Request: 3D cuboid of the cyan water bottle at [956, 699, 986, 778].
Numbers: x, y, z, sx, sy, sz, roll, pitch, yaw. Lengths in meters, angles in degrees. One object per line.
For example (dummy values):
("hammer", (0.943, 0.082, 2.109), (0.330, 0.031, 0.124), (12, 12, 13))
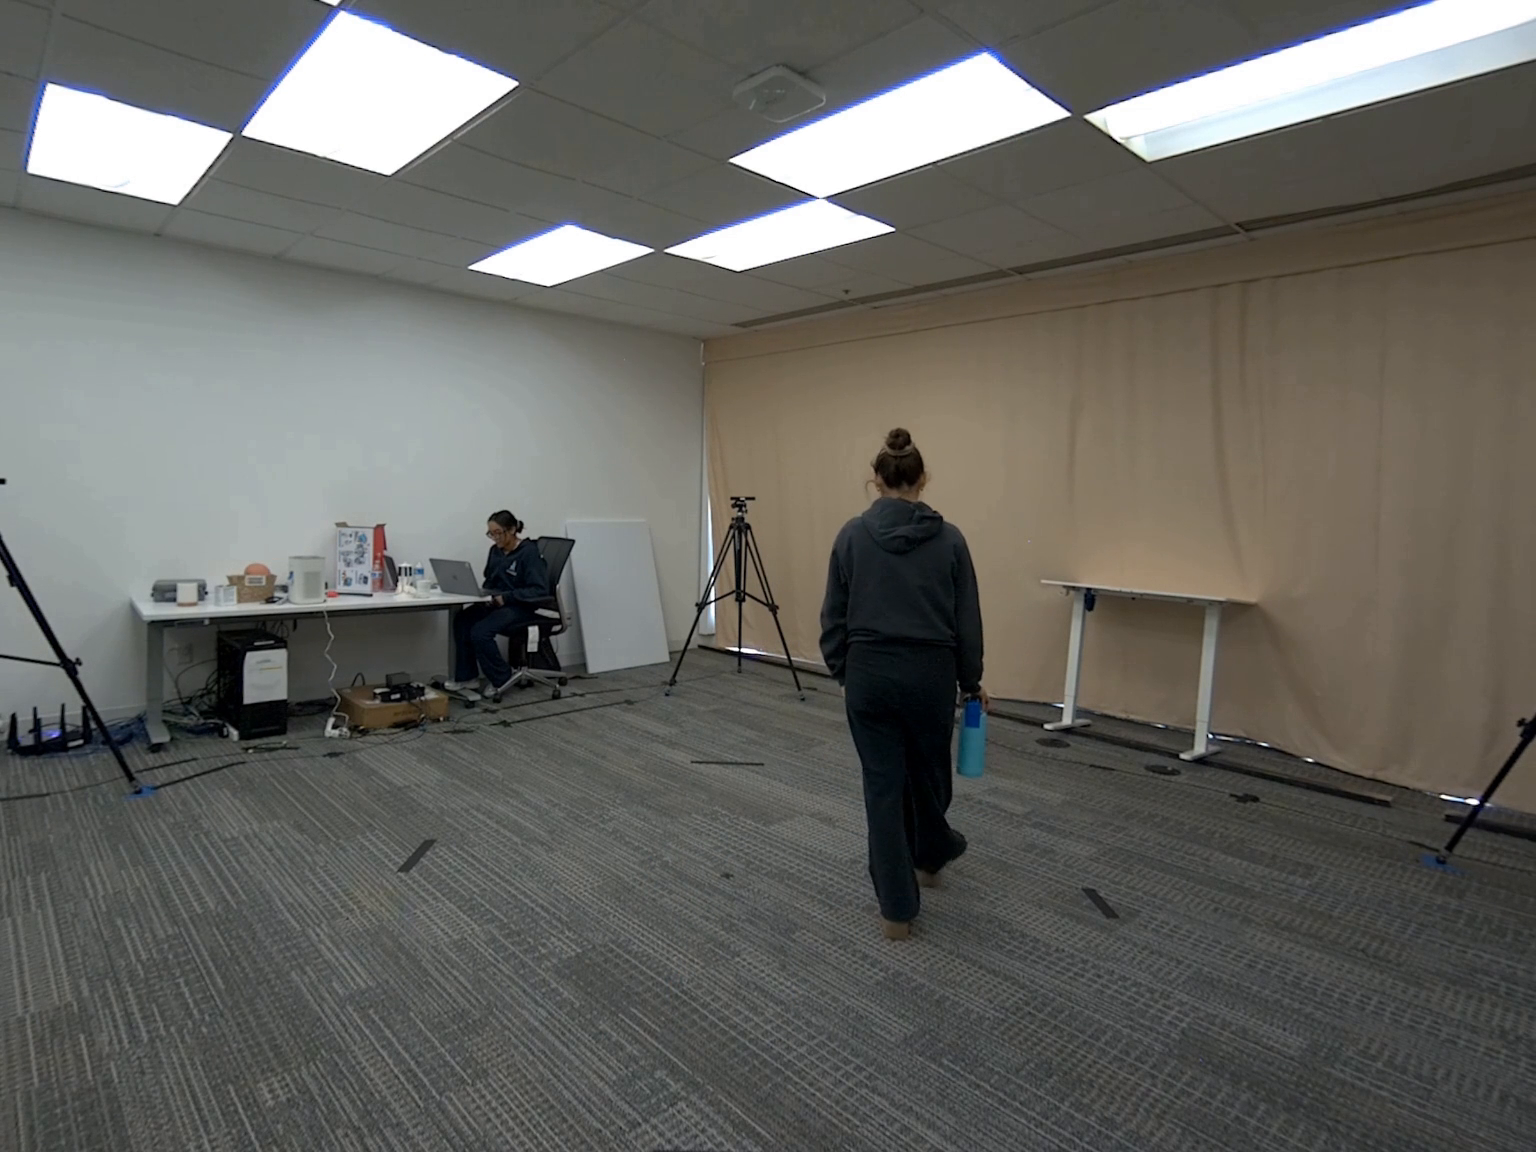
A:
("cyan water bottle", (0.695, 0.548, 2.908), (0.092, 0.282, 0.093), (2, 4, -2))
